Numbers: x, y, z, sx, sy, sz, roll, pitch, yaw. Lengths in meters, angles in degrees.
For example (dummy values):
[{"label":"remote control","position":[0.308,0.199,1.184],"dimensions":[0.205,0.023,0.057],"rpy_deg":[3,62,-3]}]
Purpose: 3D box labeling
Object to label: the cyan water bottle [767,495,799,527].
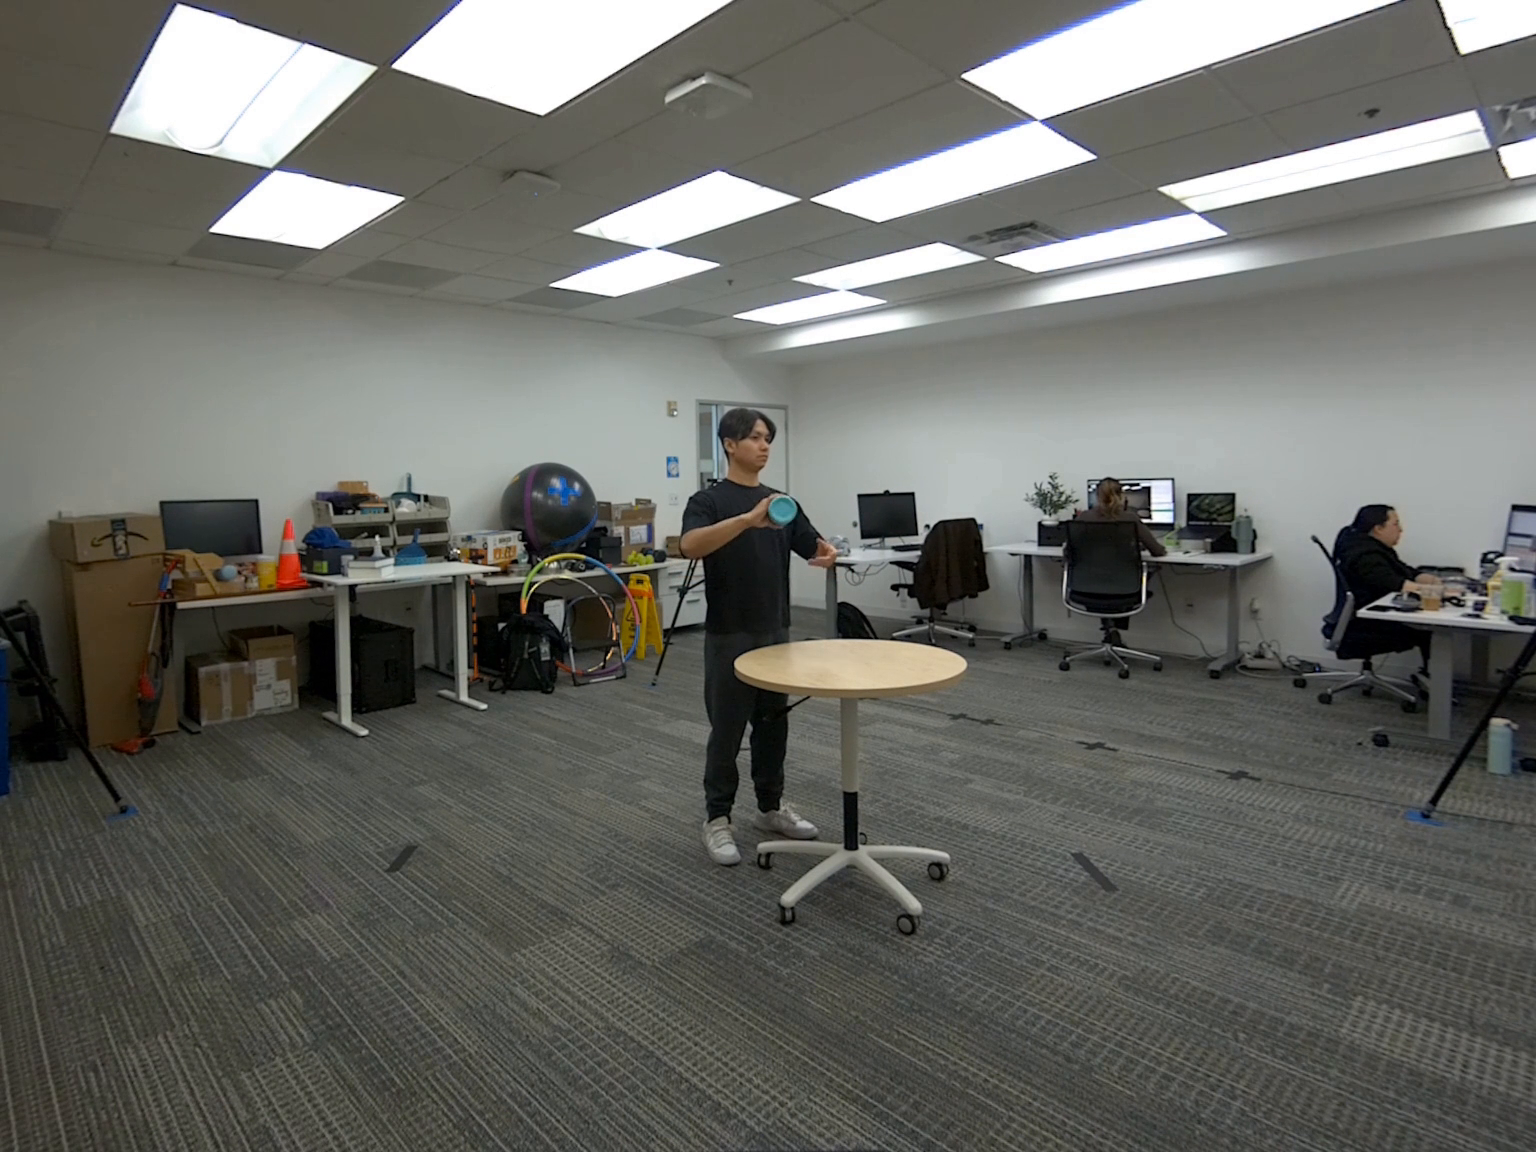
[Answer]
[{"label":"cyan water bottle","position":[0.033,-0.211,2.926],"dimensions":[0.092,0.092,0.283],"rpy_deg":[-1,1,-2]}]
